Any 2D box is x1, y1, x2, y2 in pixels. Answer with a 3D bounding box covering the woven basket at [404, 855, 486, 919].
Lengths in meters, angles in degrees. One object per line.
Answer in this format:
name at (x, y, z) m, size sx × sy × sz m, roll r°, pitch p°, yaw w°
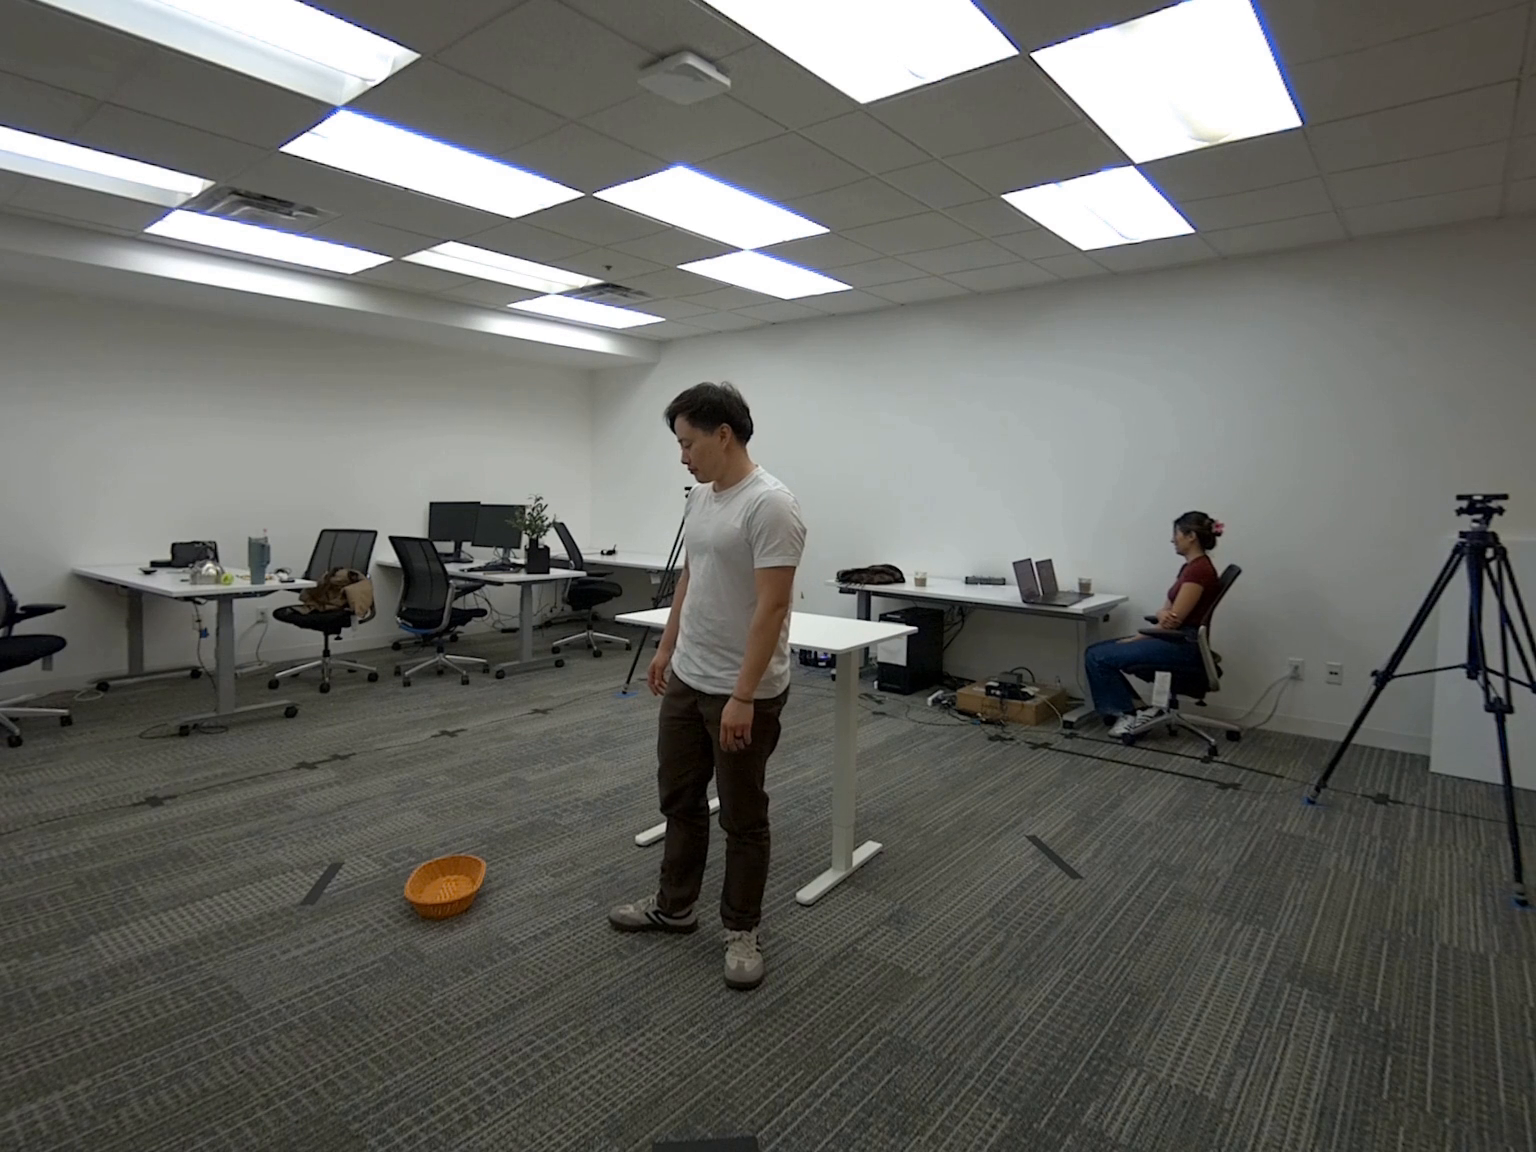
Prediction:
woven basket at (-1.093, 1.043, 2.855) m, size 0.251 × 0.073 × 0.353 m, roll -1°, pitch 6°, yaw -4°
